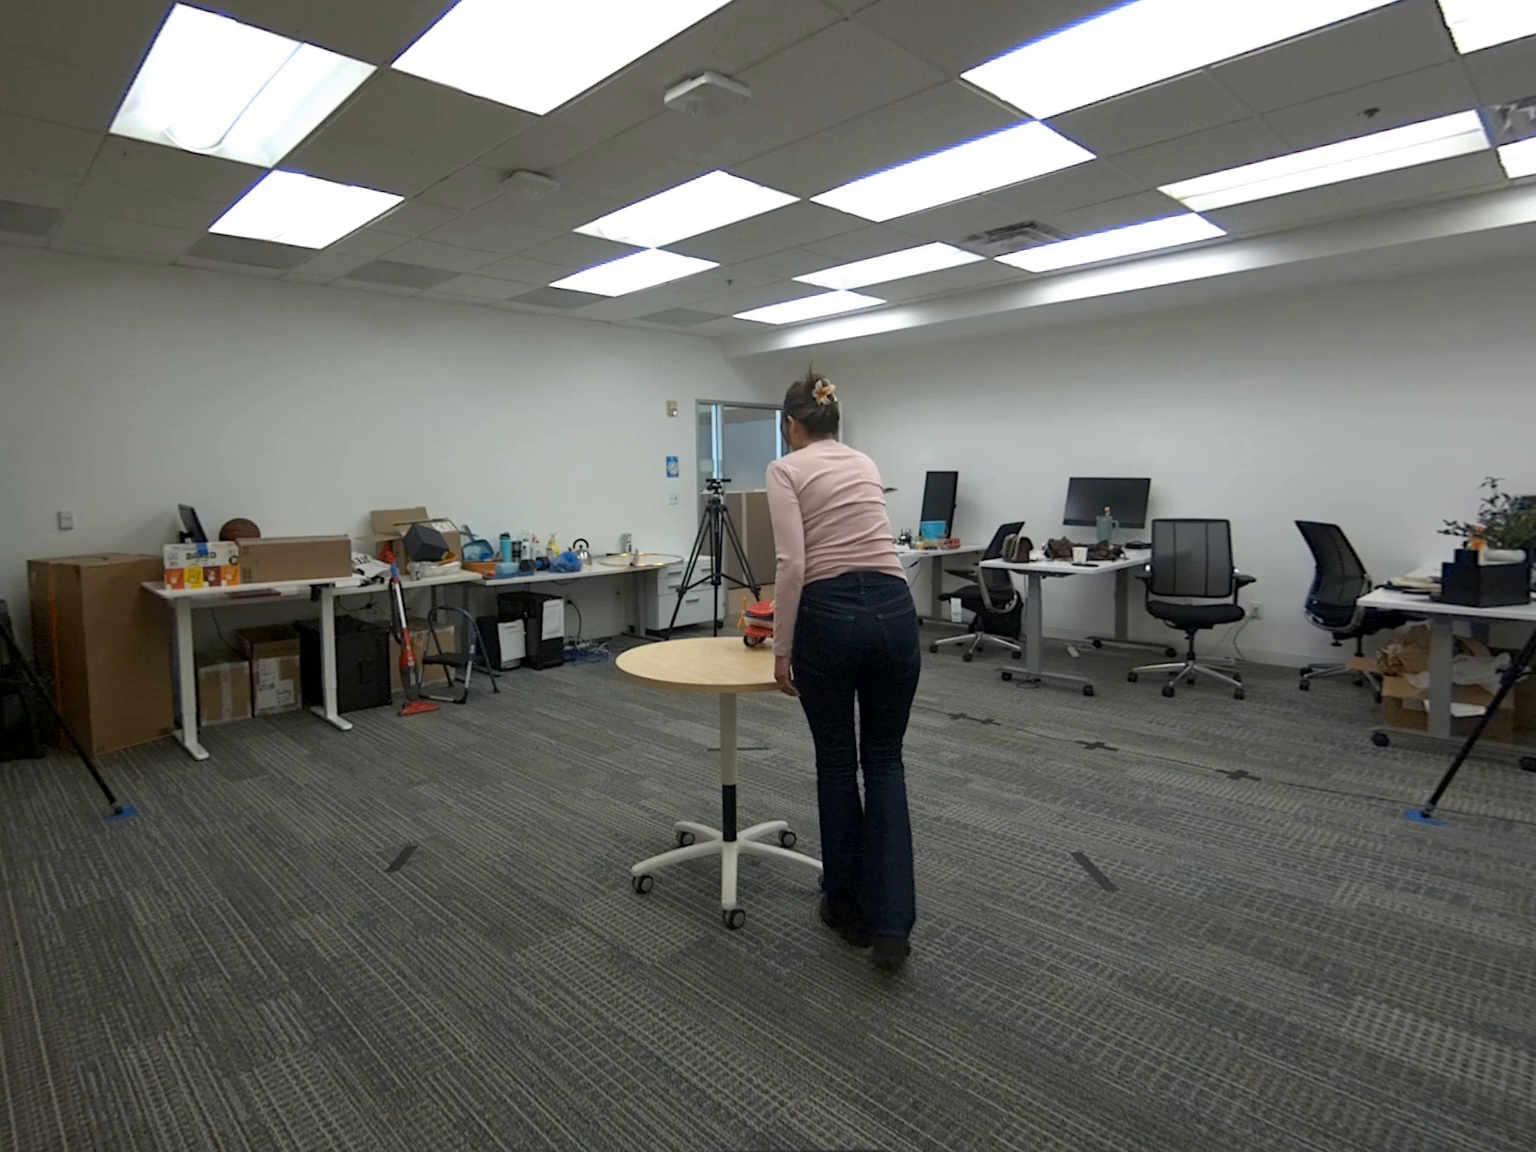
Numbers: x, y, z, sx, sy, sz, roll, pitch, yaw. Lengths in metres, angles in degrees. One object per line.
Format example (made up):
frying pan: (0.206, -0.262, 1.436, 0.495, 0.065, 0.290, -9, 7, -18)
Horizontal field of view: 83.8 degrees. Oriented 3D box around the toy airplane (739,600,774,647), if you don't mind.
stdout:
toy airplane: (0.025, 0.171, 3.139, 0.257, 0.156, 0.253, -7, 4, -8)
